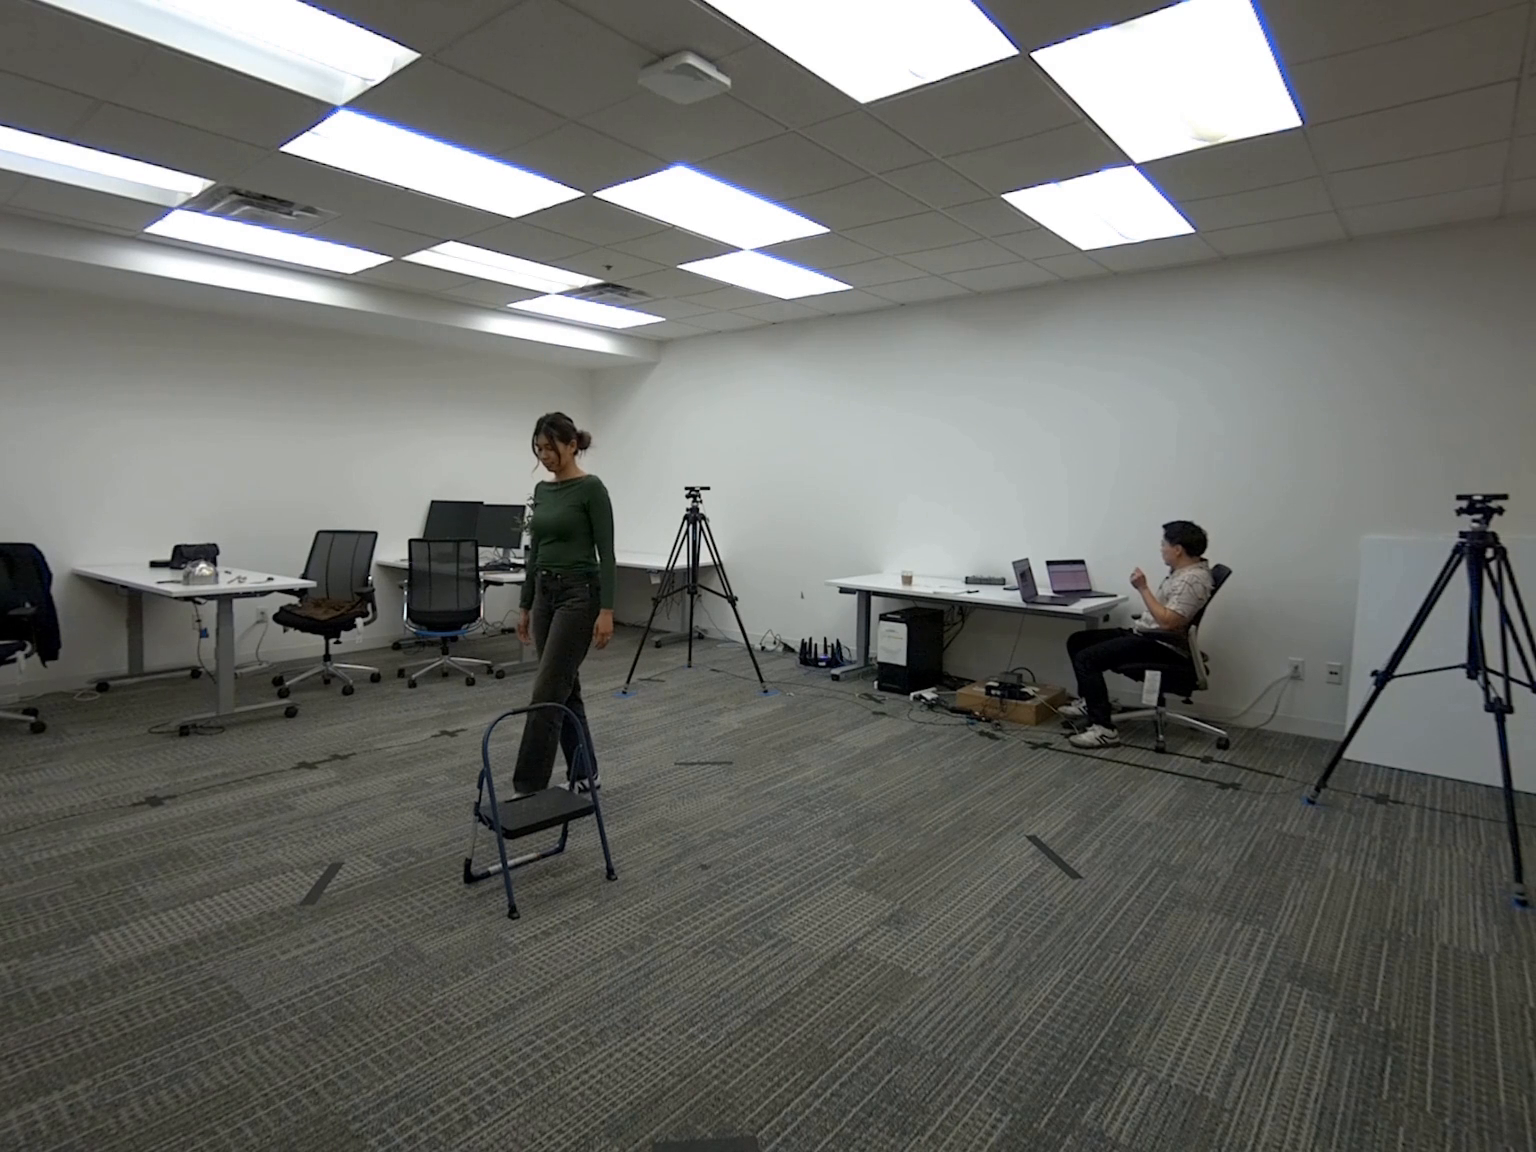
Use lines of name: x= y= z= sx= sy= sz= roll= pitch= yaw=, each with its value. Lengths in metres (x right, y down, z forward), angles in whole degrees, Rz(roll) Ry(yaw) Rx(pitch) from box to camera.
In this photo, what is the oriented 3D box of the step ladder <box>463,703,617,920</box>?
step ladder: x=-0.806 y=0.769 z=2.974 sx=0.361 sy=0.604 sz=0.418 roll=4 pitch=5 yaw=43
